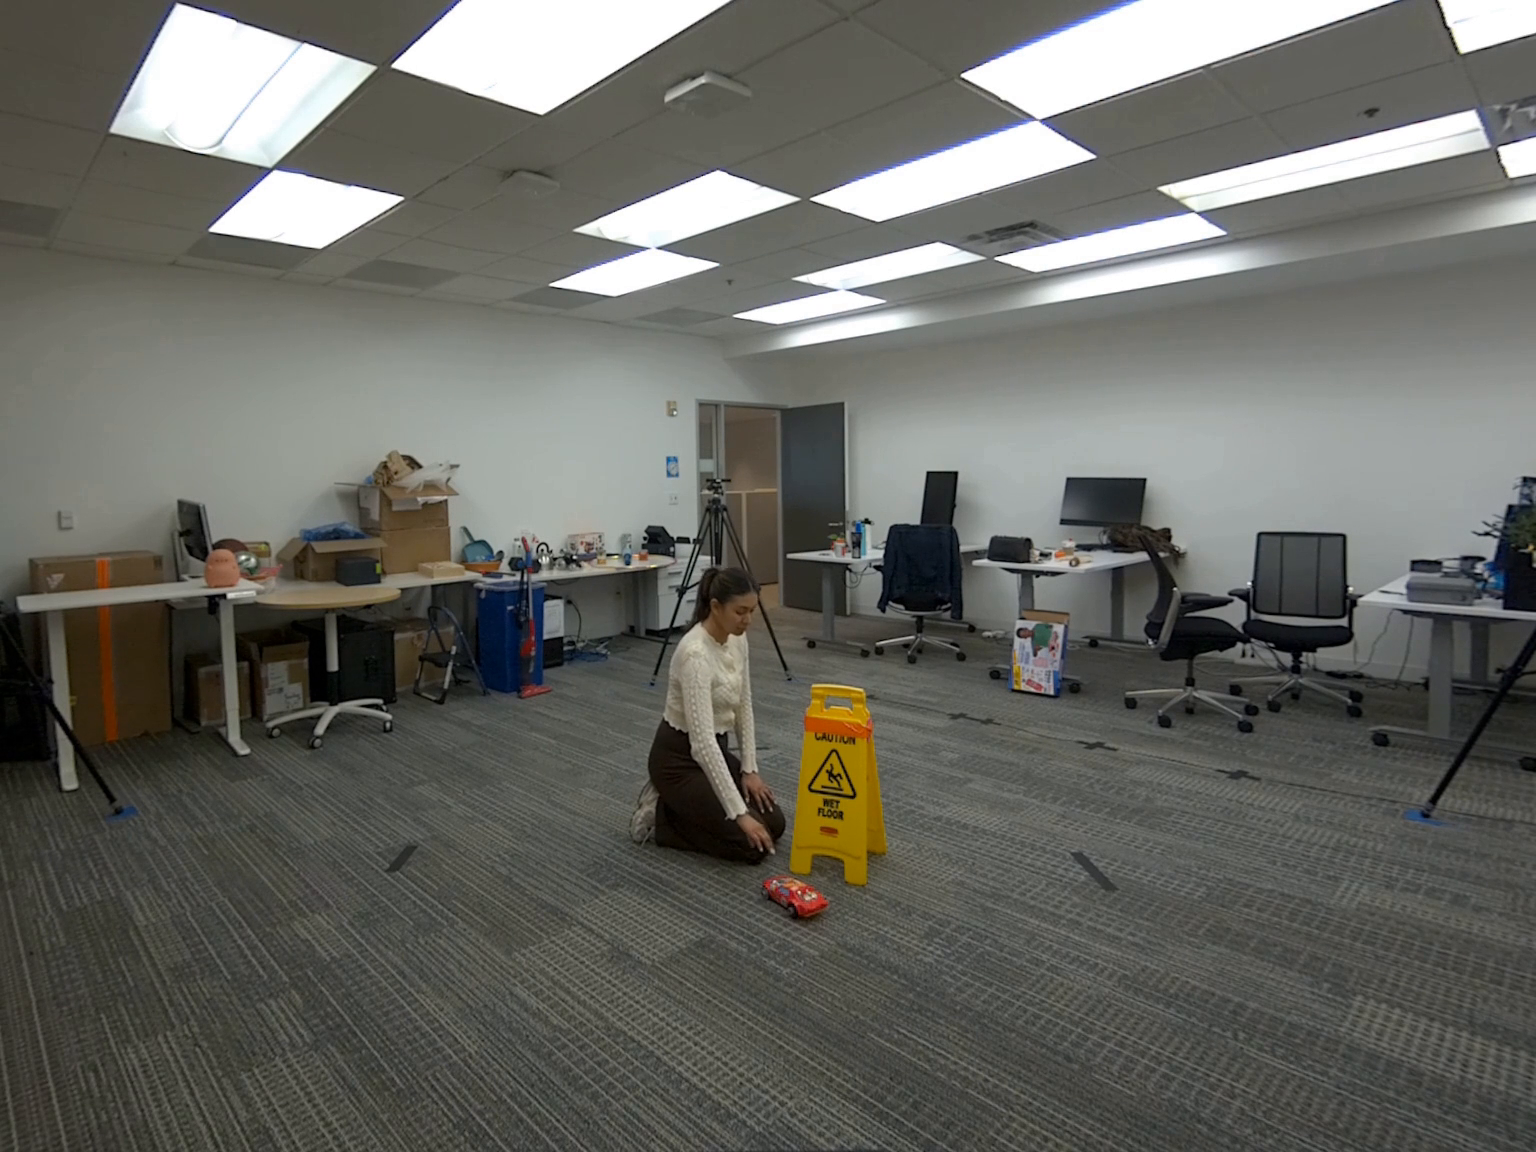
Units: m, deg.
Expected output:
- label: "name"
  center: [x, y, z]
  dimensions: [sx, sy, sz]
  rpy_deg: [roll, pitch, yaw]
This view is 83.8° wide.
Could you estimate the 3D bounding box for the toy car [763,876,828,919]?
- label: "toy car"
  center: [0.093, 1.053, 2.769]
  dimensions: [0.127, 0.083, 0.259]
  rpy_deg: [-4, -4, -32]
